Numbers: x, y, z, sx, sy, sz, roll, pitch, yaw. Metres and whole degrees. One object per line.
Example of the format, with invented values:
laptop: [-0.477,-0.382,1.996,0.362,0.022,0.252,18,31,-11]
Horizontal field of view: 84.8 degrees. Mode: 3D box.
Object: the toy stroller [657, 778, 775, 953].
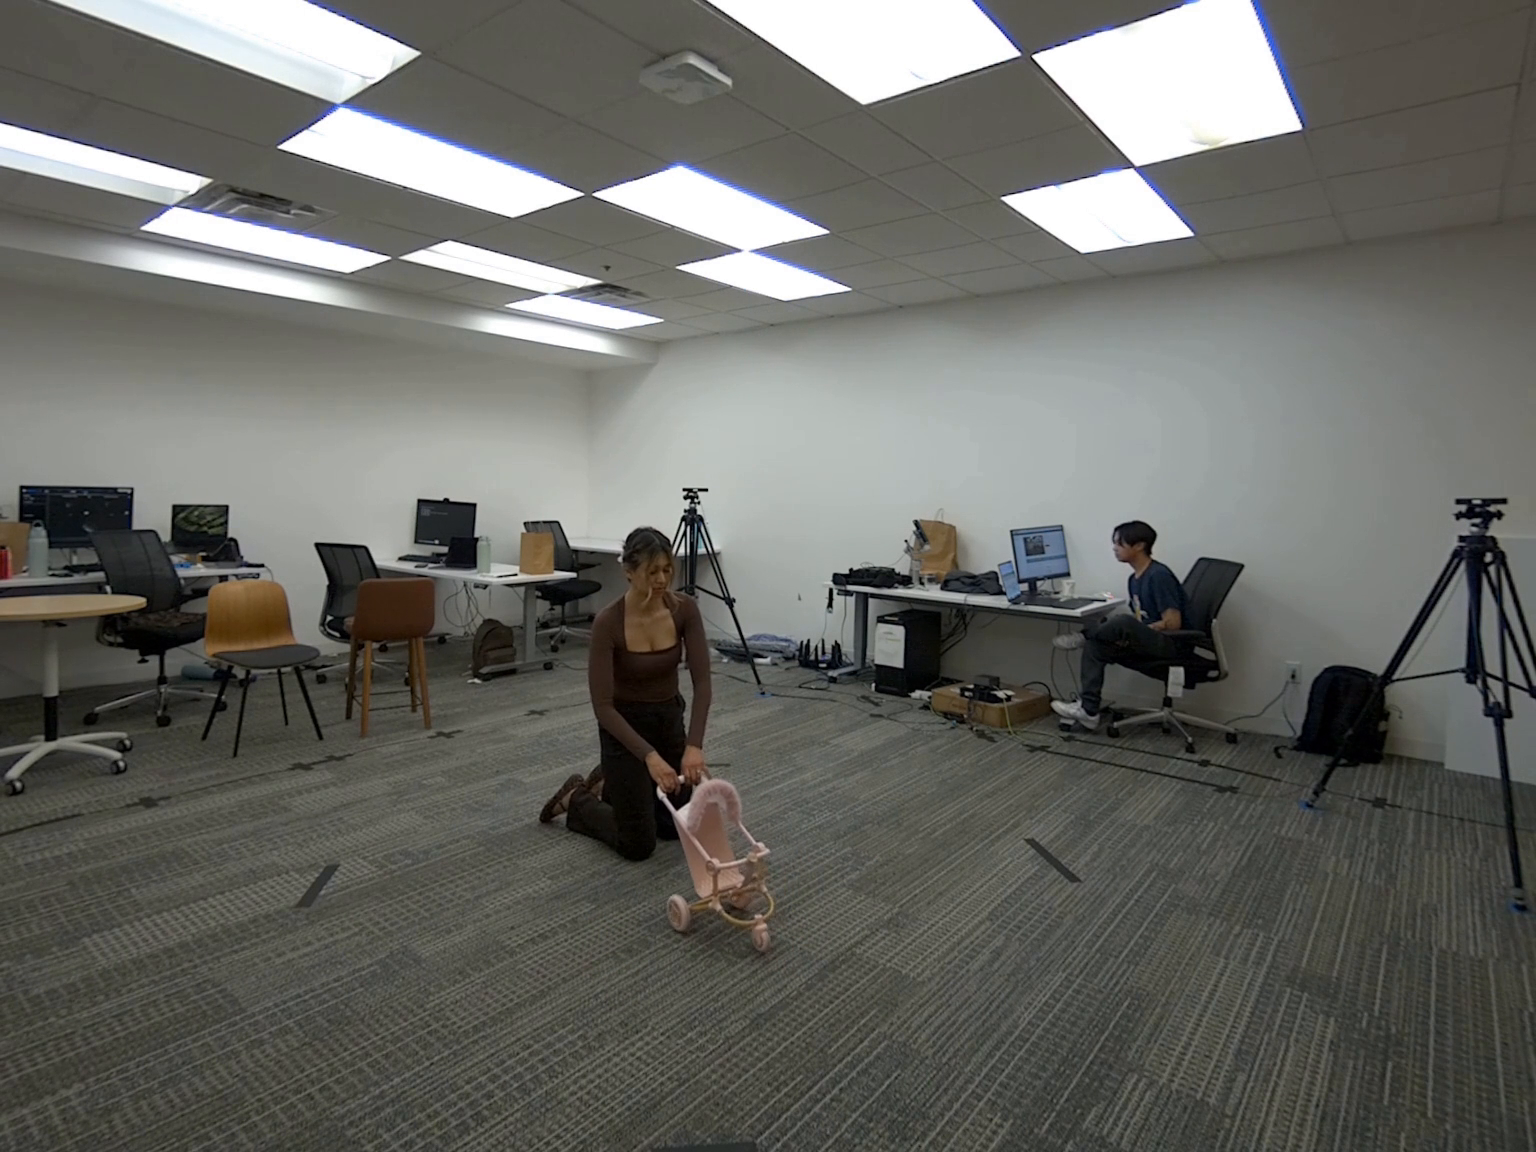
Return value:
toy stroller: [-0.162,0.882,2.699,0.273,0.543,0.346,-2,-15,-37]
